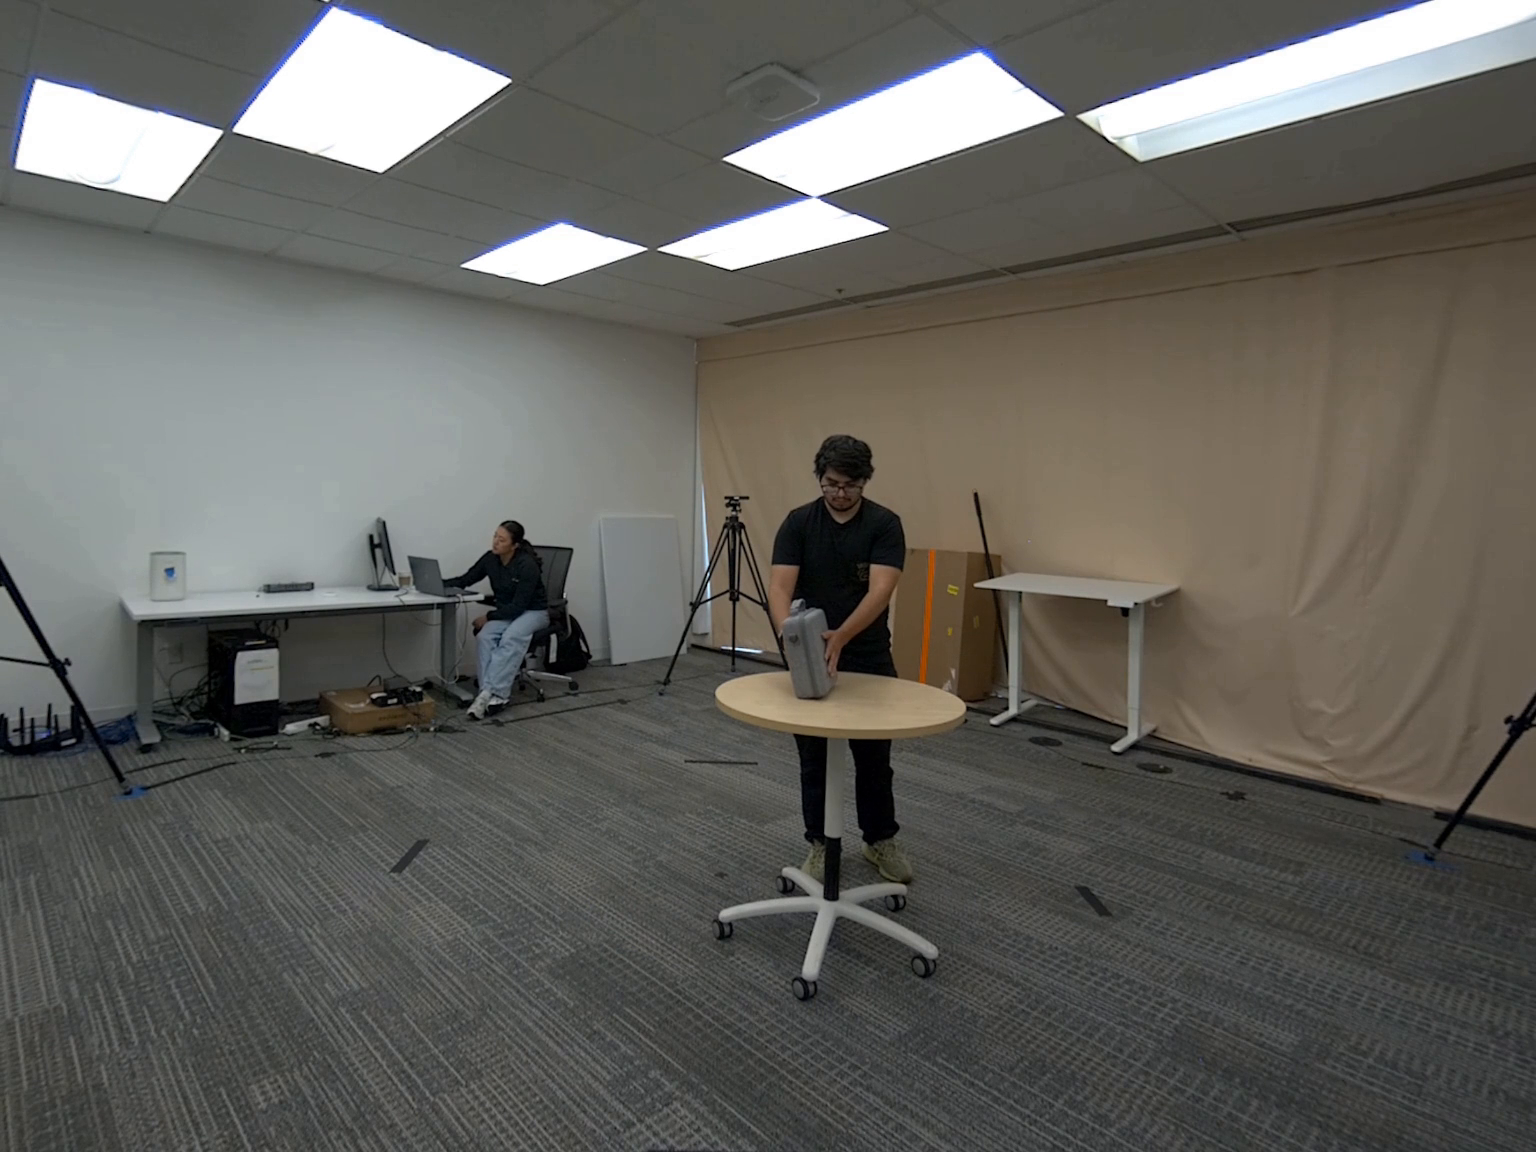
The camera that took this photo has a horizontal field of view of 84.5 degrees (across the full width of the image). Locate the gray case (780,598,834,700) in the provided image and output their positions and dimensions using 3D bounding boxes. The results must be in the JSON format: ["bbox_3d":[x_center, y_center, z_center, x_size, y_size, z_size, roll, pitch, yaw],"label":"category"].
[{"bbox_3d":[0.122,0.237,2.649,0.105,0.261,0.254,-8,0,12],"label":"gray case"}]
